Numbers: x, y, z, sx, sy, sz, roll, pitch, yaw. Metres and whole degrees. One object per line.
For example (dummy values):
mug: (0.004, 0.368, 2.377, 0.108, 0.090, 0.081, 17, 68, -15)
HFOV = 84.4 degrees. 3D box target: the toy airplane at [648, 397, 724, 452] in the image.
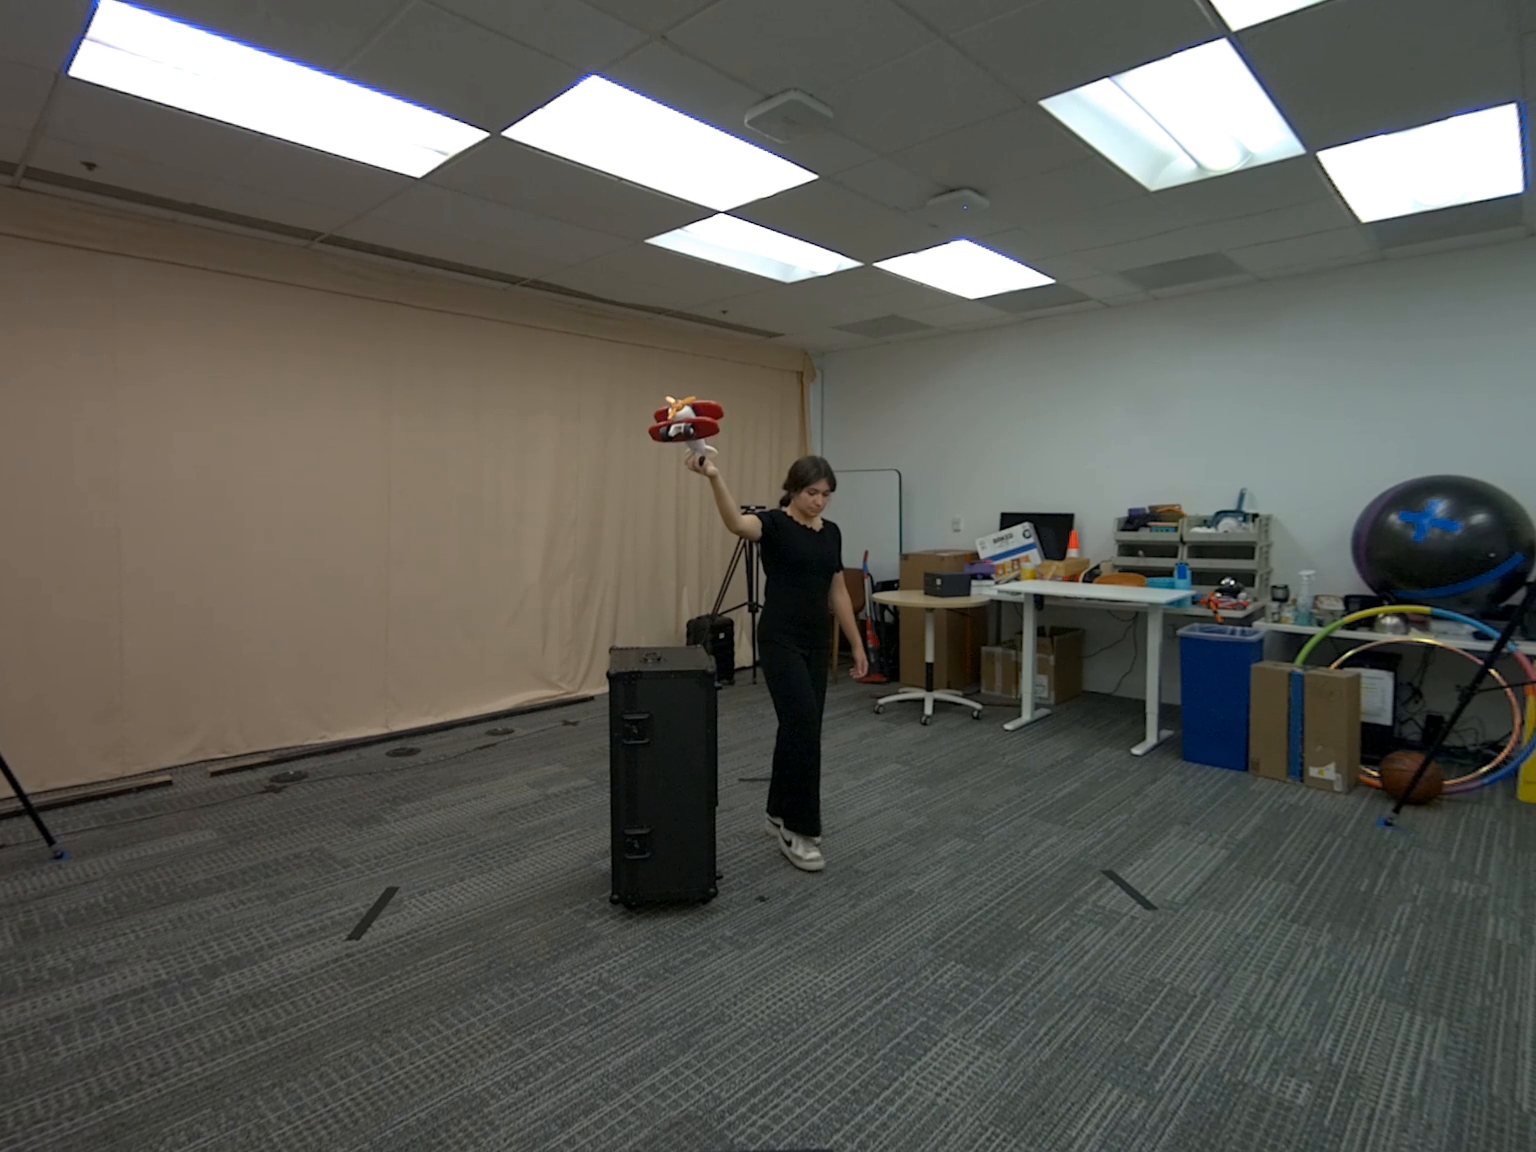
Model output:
toy airplane: (-0.285, -0.491, 2.908, 0.250, 0.158, 0.258, 9, -22, -5)
